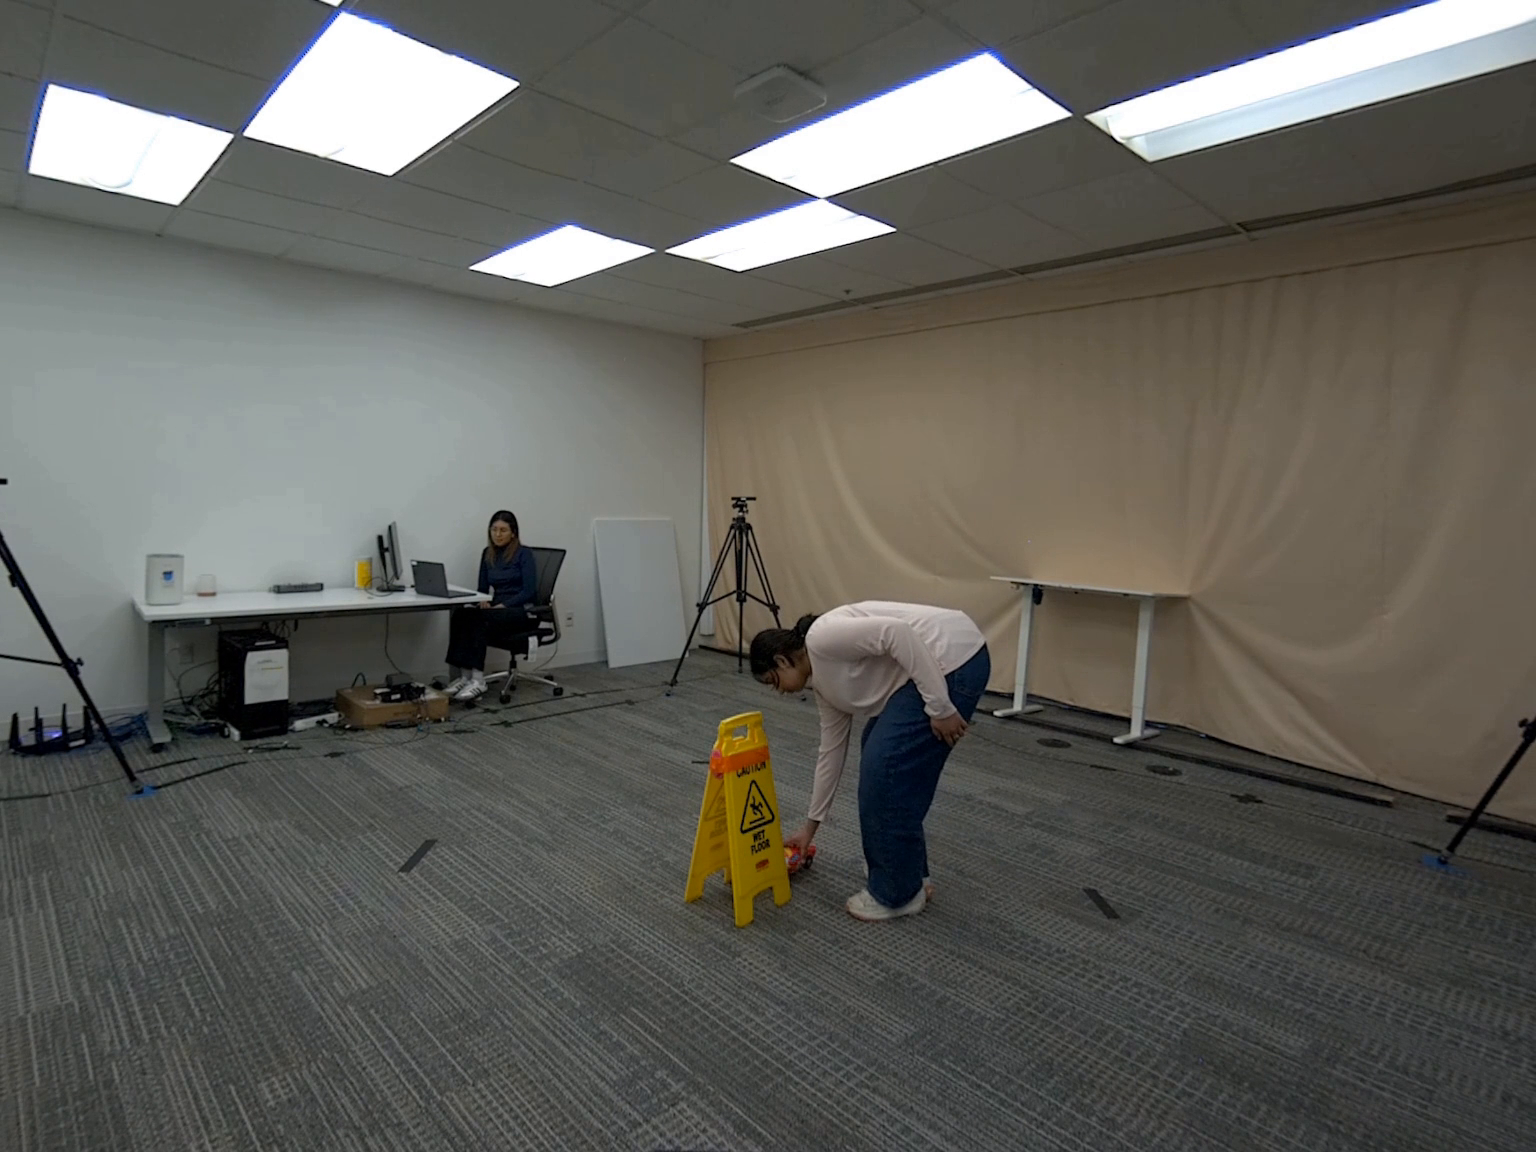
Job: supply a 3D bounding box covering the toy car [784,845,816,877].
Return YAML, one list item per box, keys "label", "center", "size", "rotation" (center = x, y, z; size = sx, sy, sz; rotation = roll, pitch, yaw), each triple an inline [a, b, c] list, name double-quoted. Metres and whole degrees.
- label: "toy car"
  center: [0.081, 1.060, 3.126]
  size: [0.134, 0.082, 0.251]
  rotation: [6, 22, 42]
